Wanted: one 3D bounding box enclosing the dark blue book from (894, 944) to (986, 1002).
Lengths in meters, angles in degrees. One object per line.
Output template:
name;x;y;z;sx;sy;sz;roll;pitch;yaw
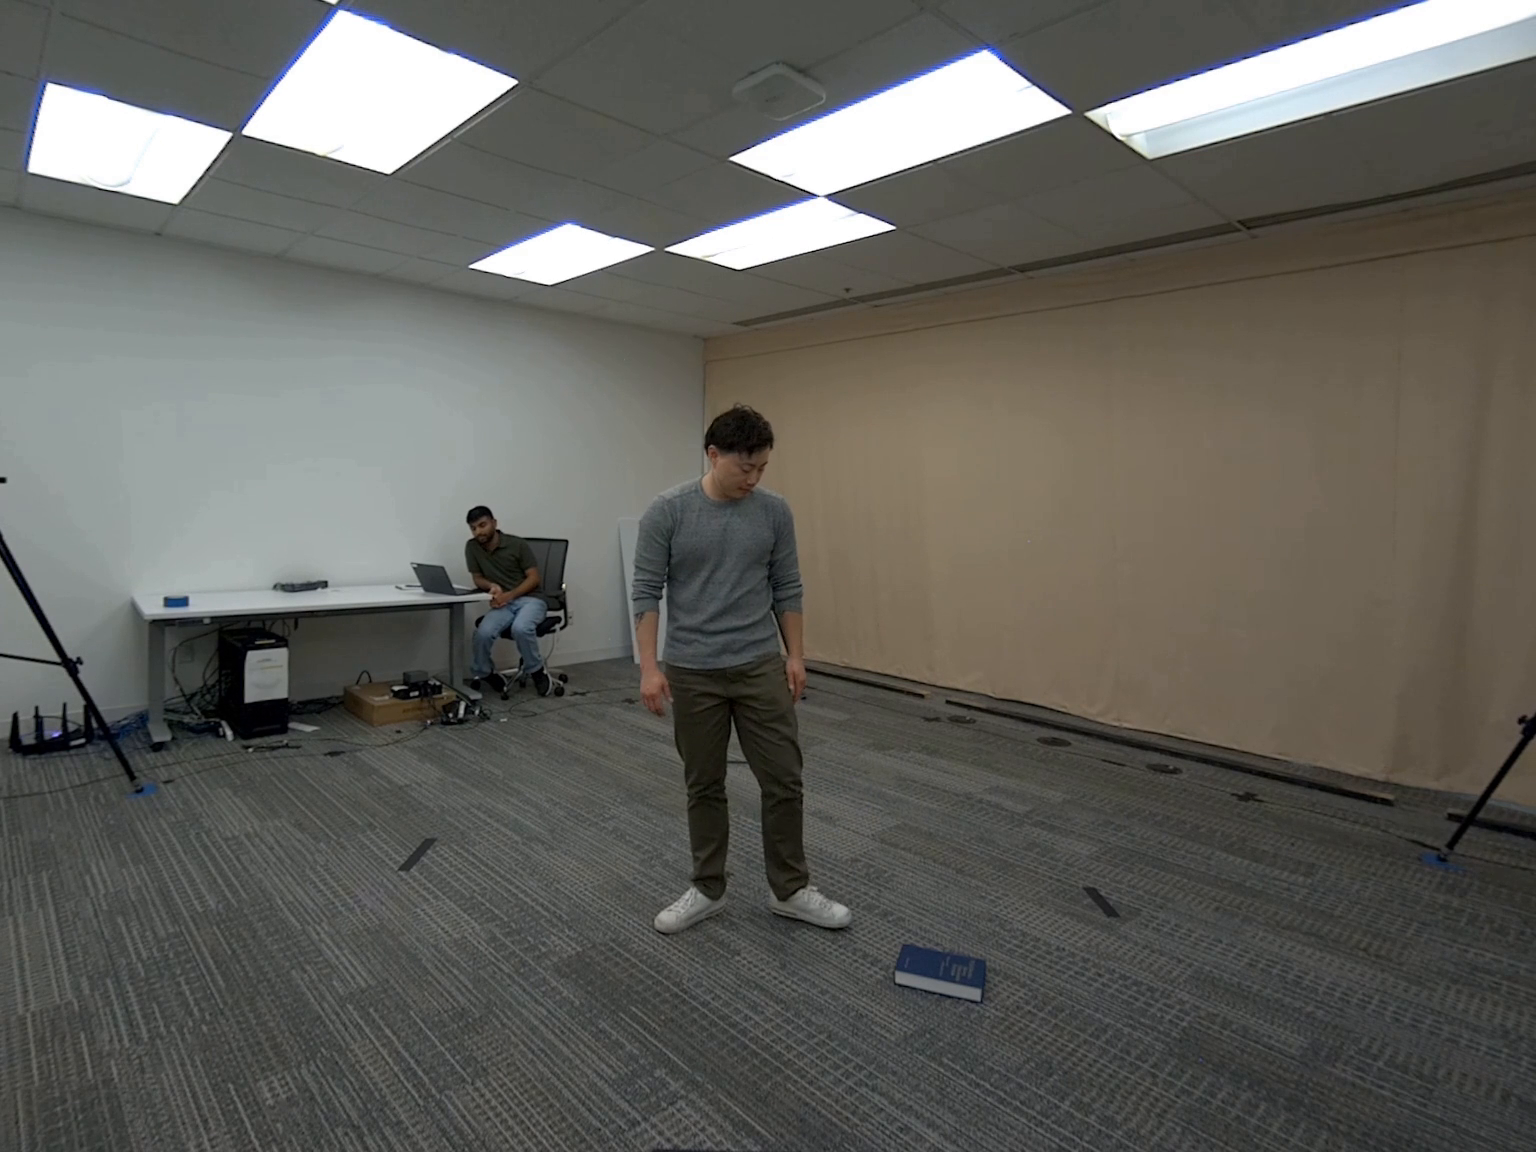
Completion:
dark blue book;0.493;1.153;2.450;0.249;0.045;0.161;3;5;19
